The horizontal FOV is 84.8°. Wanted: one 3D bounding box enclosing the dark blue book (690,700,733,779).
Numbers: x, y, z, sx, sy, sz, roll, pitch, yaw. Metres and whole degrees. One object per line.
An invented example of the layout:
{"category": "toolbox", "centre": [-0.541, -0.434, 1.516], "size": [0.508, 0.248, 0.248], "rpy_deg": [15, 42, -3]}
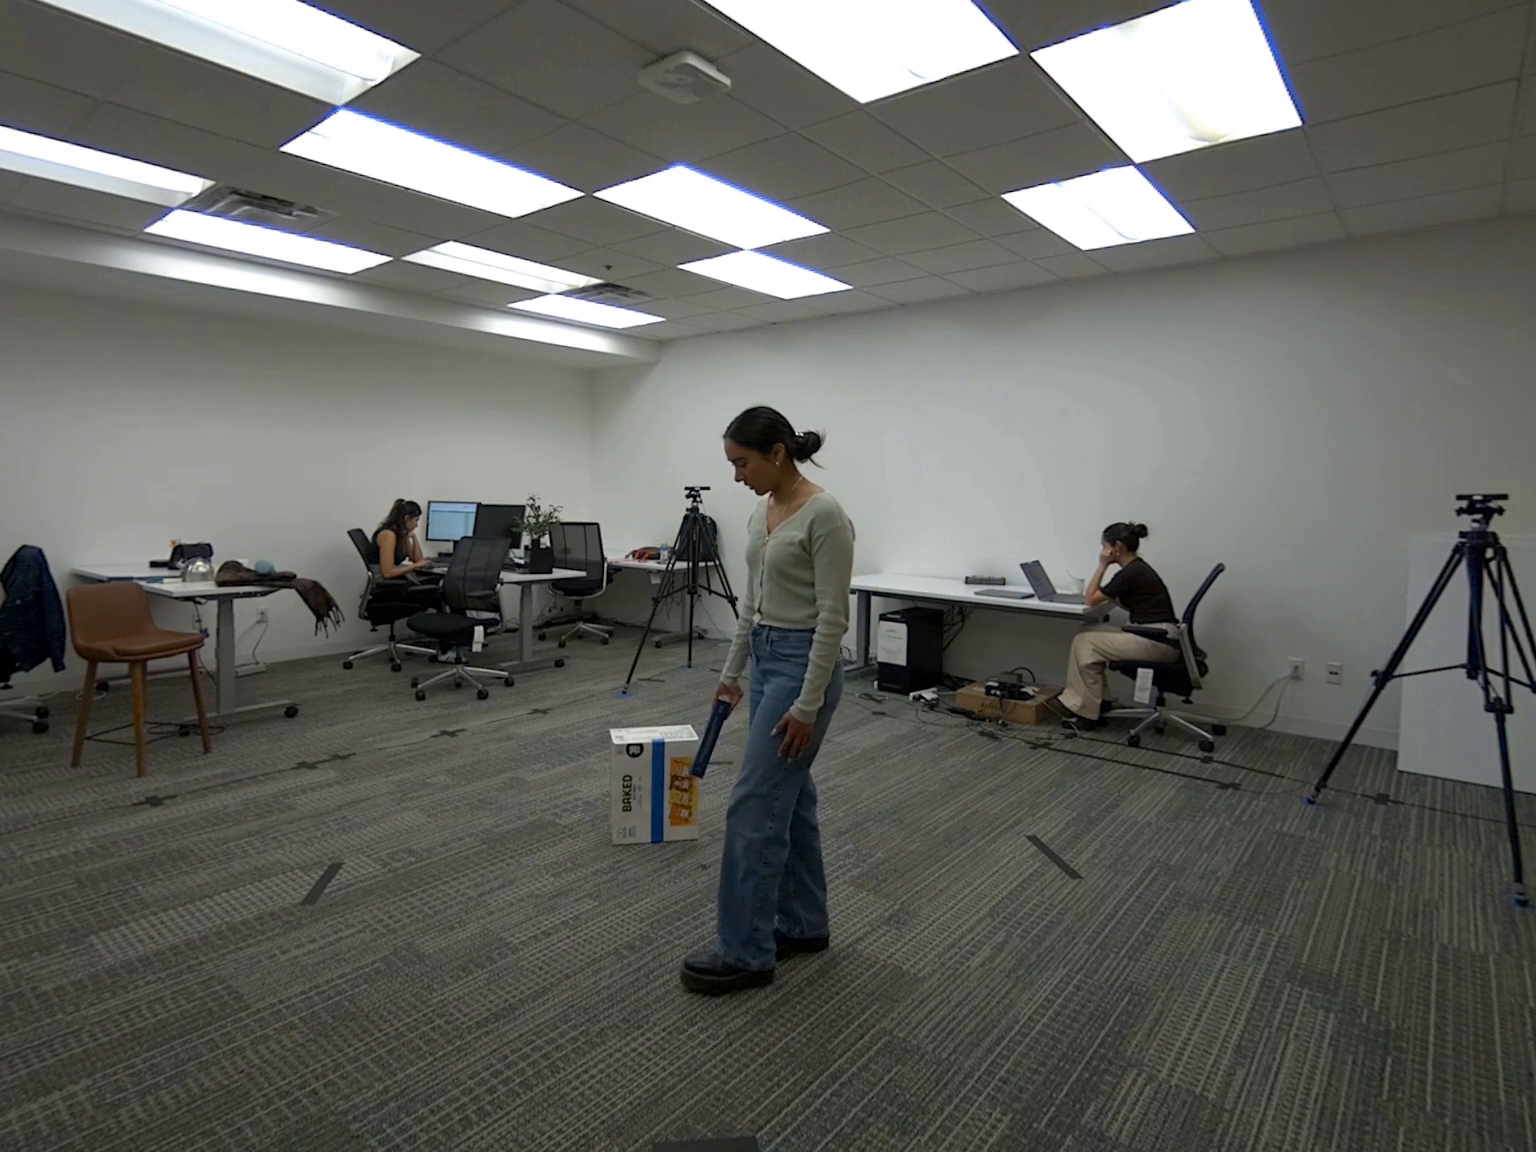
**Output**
{"category": "dark blue book", "centre": [-0.190, 0.504, 2.696], "size": [0.045, 0.245, 0.163], "rpy_deg": [19, -3, -1]}
